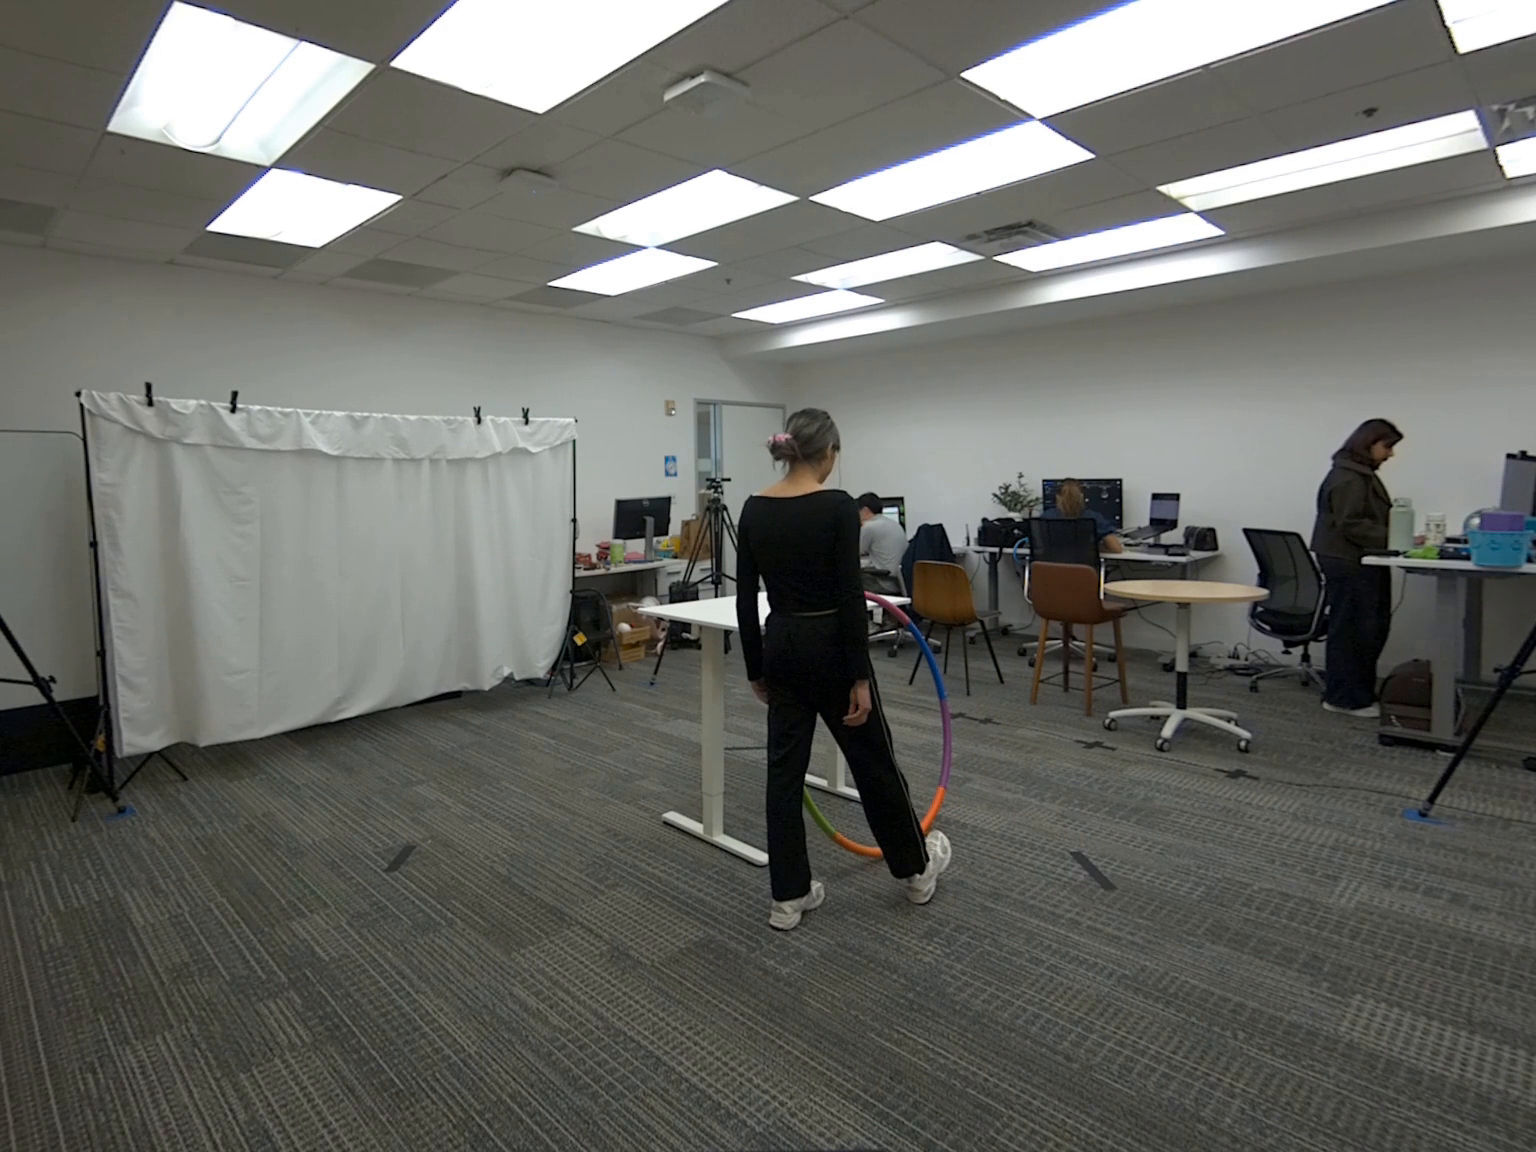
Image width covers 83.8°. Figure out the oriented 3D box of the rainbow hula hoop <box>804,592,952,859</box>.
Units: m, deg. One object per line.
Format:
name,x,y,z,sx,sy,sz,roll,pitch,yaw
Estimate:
rainbow hula hoop,0.406,0.546,3.246,0.953,0.986,0.036,-6,-9,-45
